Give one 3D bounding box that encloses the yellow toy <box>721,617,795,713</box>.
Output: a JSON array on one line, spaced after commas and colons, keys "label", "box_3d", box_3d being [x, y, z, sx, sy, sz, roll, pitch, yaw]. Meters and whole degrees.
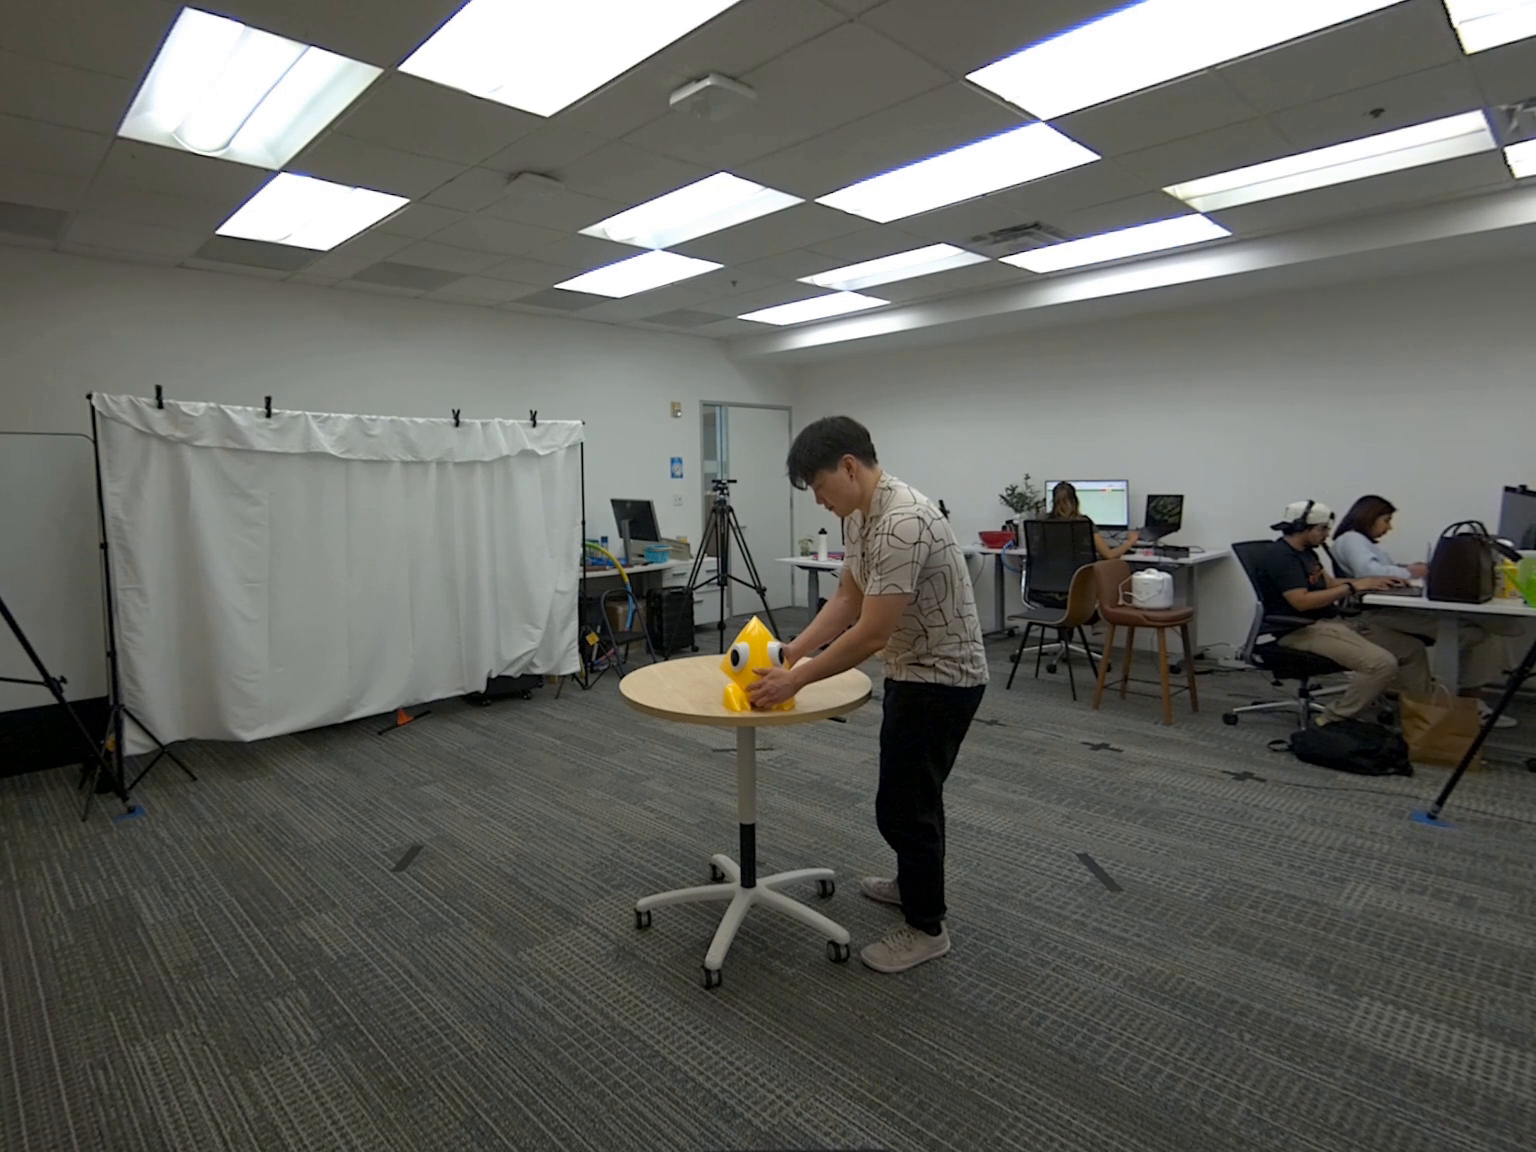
[{"label": "yellow toy", "box_3d": [-0.017, 0.234, 2.357, 0.204, 0.230, 0.194, -1, 3, -5]}]
